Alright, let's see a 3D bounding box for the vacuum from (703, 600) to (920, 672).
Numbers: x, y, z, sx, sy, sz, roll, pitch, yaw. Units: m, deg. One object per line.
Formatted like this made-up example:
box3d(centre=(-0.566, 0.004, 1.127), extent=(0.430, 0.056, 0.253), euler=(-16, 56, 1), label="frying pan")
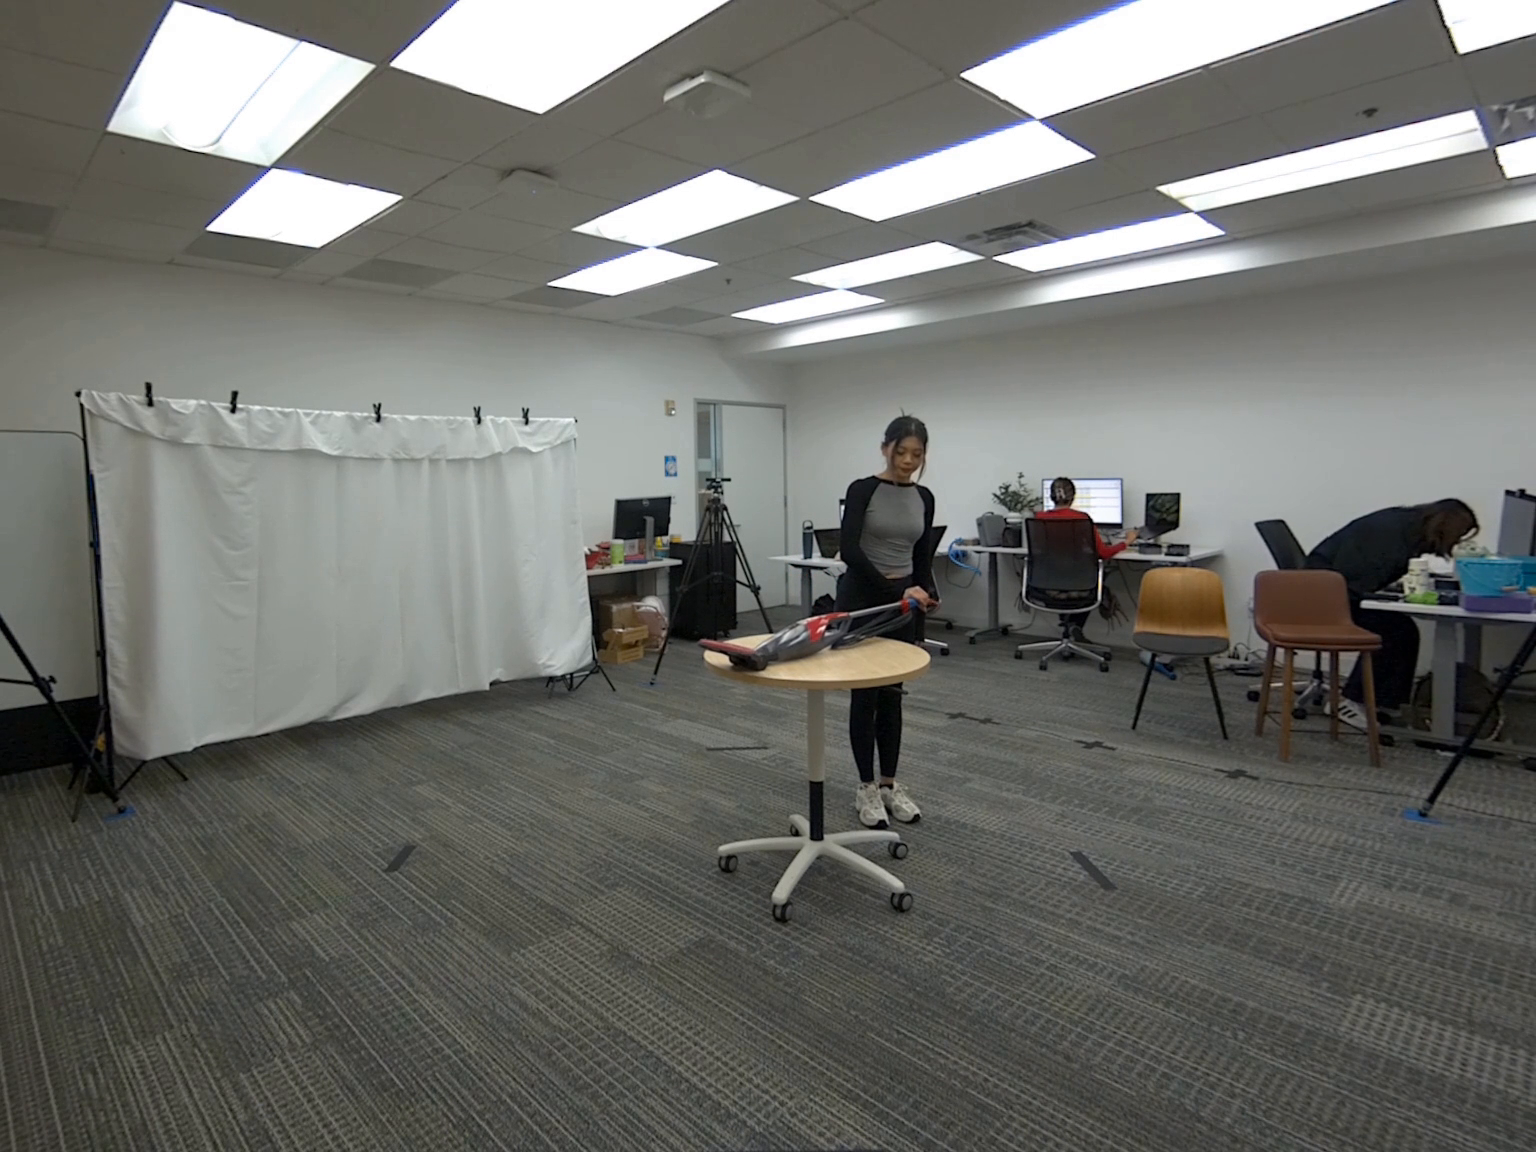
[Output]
box3d(centre=(0.279, 0.199, 3.026), extent=(1.024, 0.143, 0.260), euler=(-10, 10, -43), label="vacuum")
